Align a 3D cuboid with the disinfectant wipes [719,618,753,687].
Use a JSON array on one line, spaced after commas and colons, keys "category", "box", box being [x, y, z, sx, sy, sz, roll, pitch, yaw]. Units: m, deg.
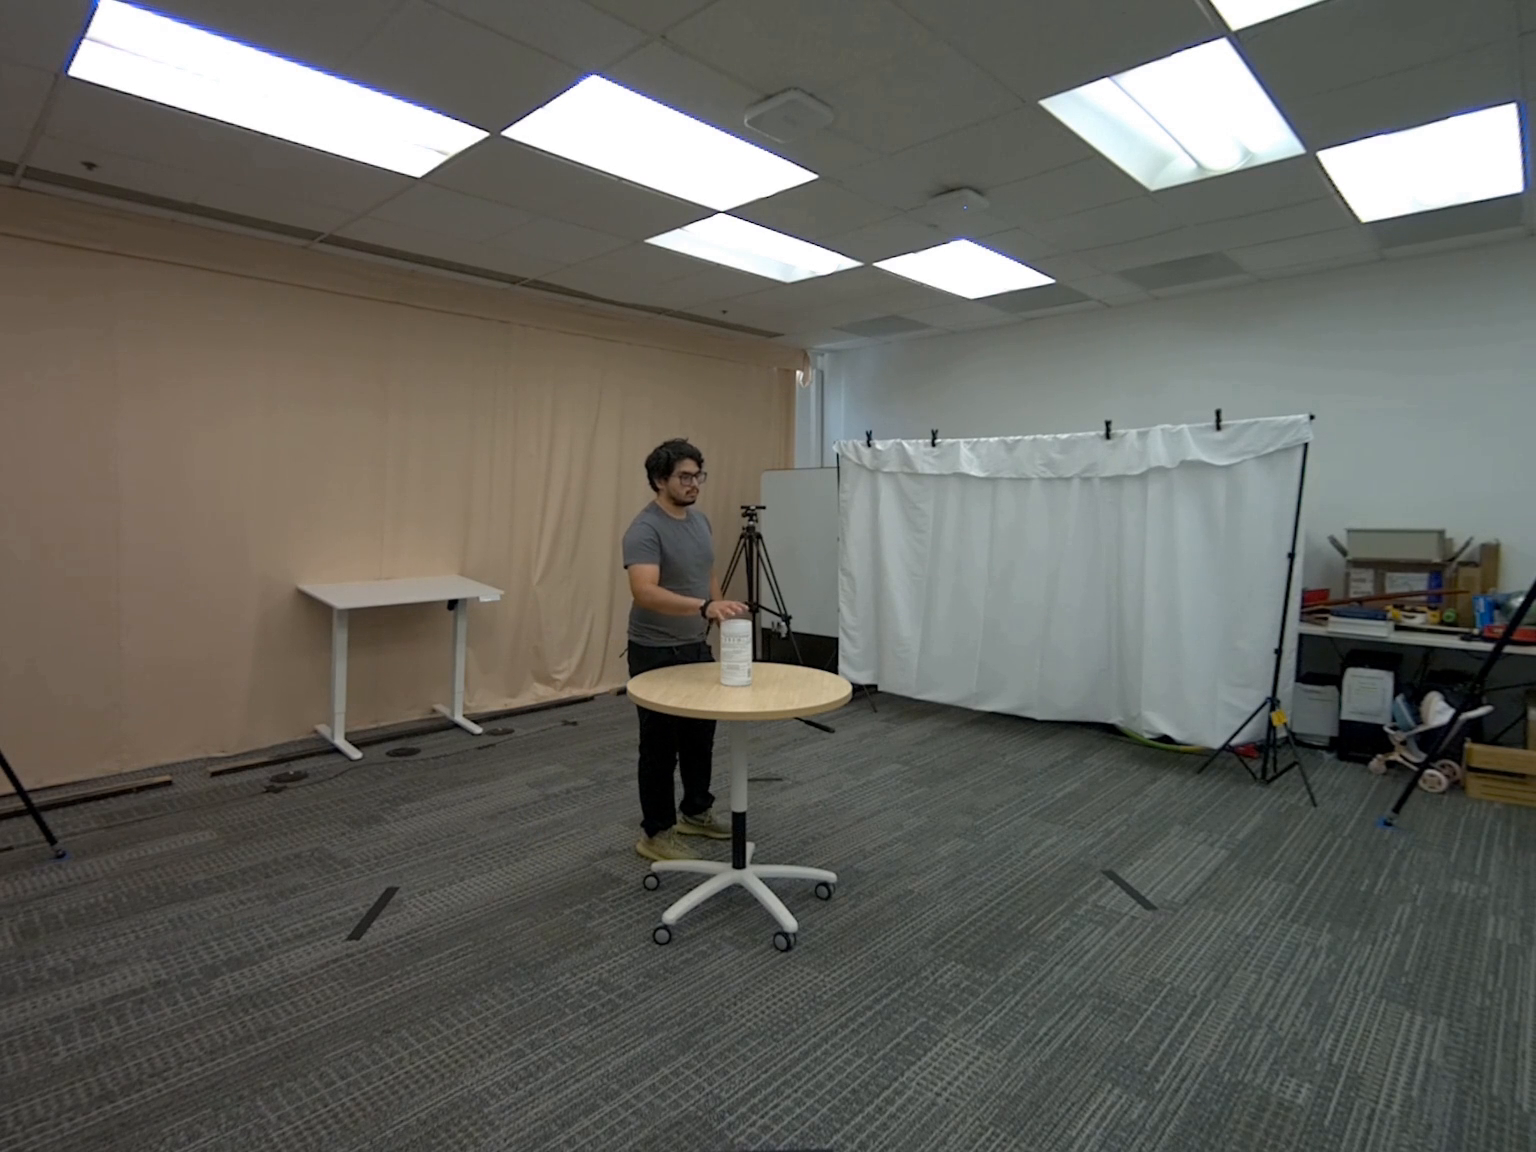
[{"category": "disinfectant wipes", "box": [-0.102, 0.264, 2.880, 0.118, 0.217, 0.118, 1, 5, -2]}]
